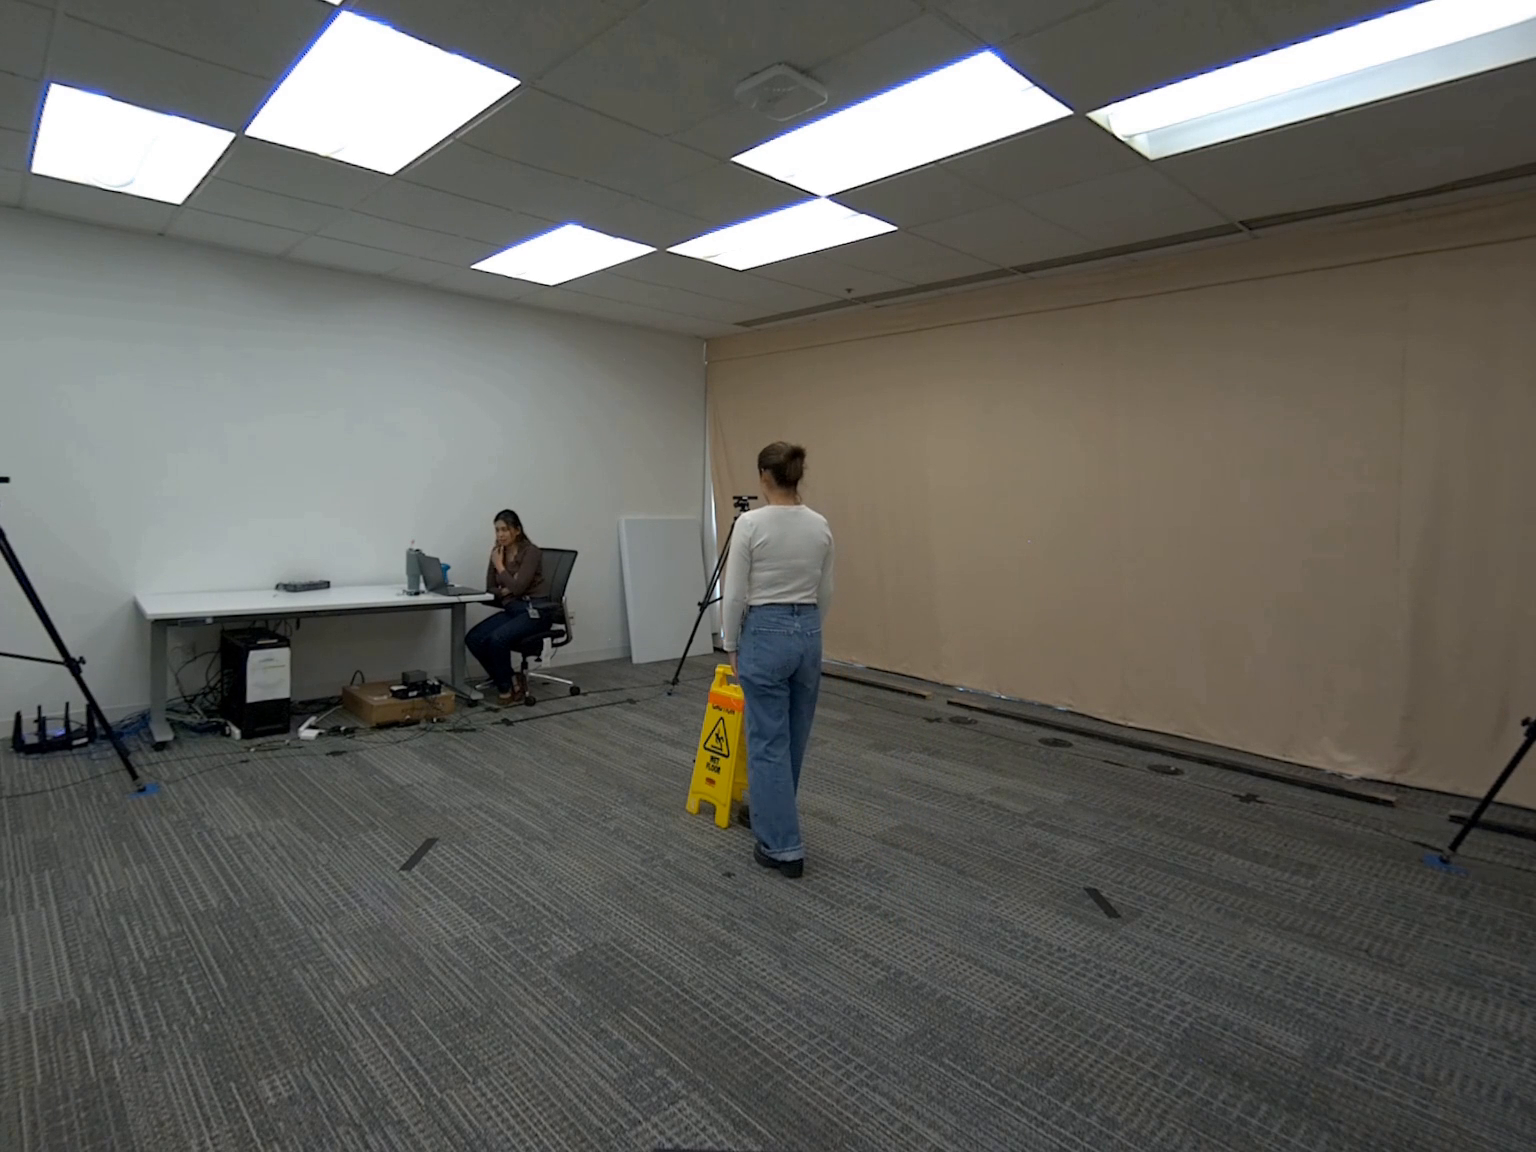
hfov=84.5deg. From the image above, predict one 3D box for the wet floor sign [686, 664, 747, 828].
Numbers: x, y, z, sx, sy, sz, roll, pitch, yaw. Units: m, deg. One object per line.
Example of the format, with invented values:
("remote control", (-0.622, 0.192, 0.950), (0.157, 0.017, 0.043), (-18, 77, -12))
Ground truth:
("wet floor sign", (-0.176, 0.725, 3.716), (0.283, 0.645, 0.289), (-2, 4, -42))
